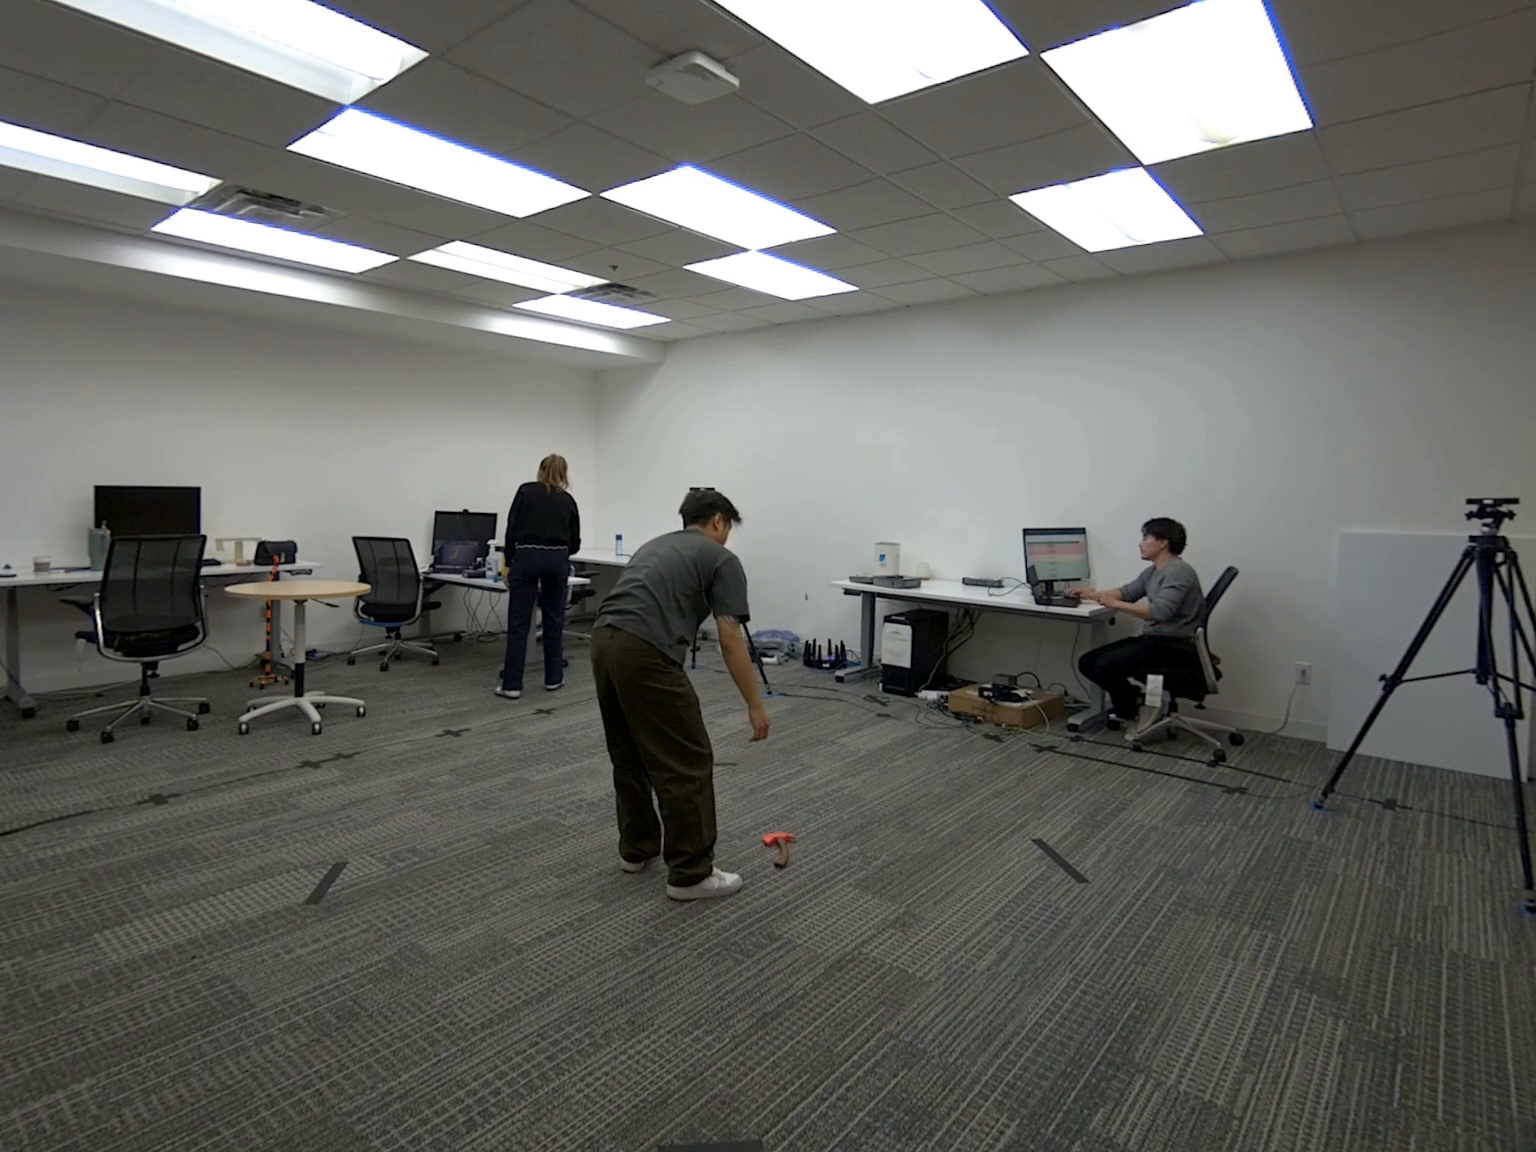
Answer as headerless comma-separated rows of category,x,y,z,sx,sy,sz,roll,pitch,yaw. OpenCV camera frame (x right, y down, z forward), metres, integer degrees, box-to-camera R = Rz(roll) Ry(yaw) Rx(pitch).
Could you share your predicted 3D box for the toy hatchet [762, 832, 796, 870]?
toy hatchet,0.016,1.045,3.258,0.133,0.029,0.267,3,7,12
